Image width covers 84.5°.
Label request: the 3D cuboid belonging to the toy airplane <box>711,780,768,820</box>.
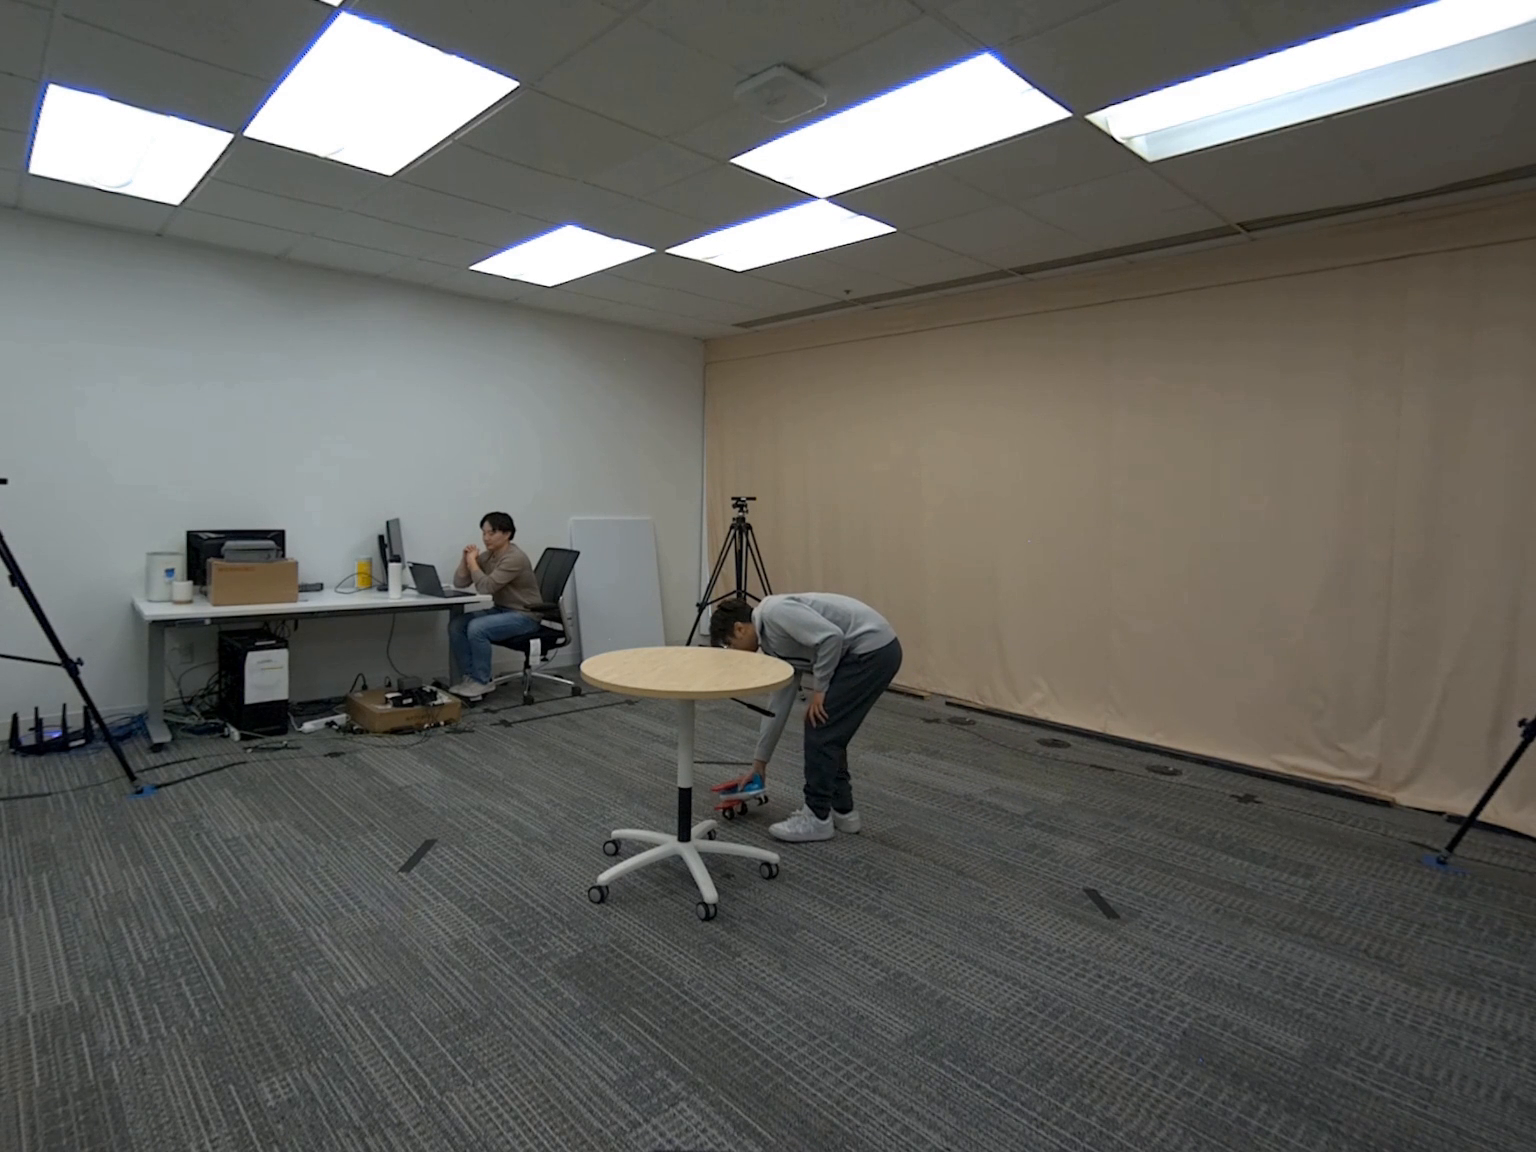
[{"bbox_3d":[-0.108,0.952,3.675,0.260,0.159,0.246,-26,-17,11],"label":"toy airplane"}]
